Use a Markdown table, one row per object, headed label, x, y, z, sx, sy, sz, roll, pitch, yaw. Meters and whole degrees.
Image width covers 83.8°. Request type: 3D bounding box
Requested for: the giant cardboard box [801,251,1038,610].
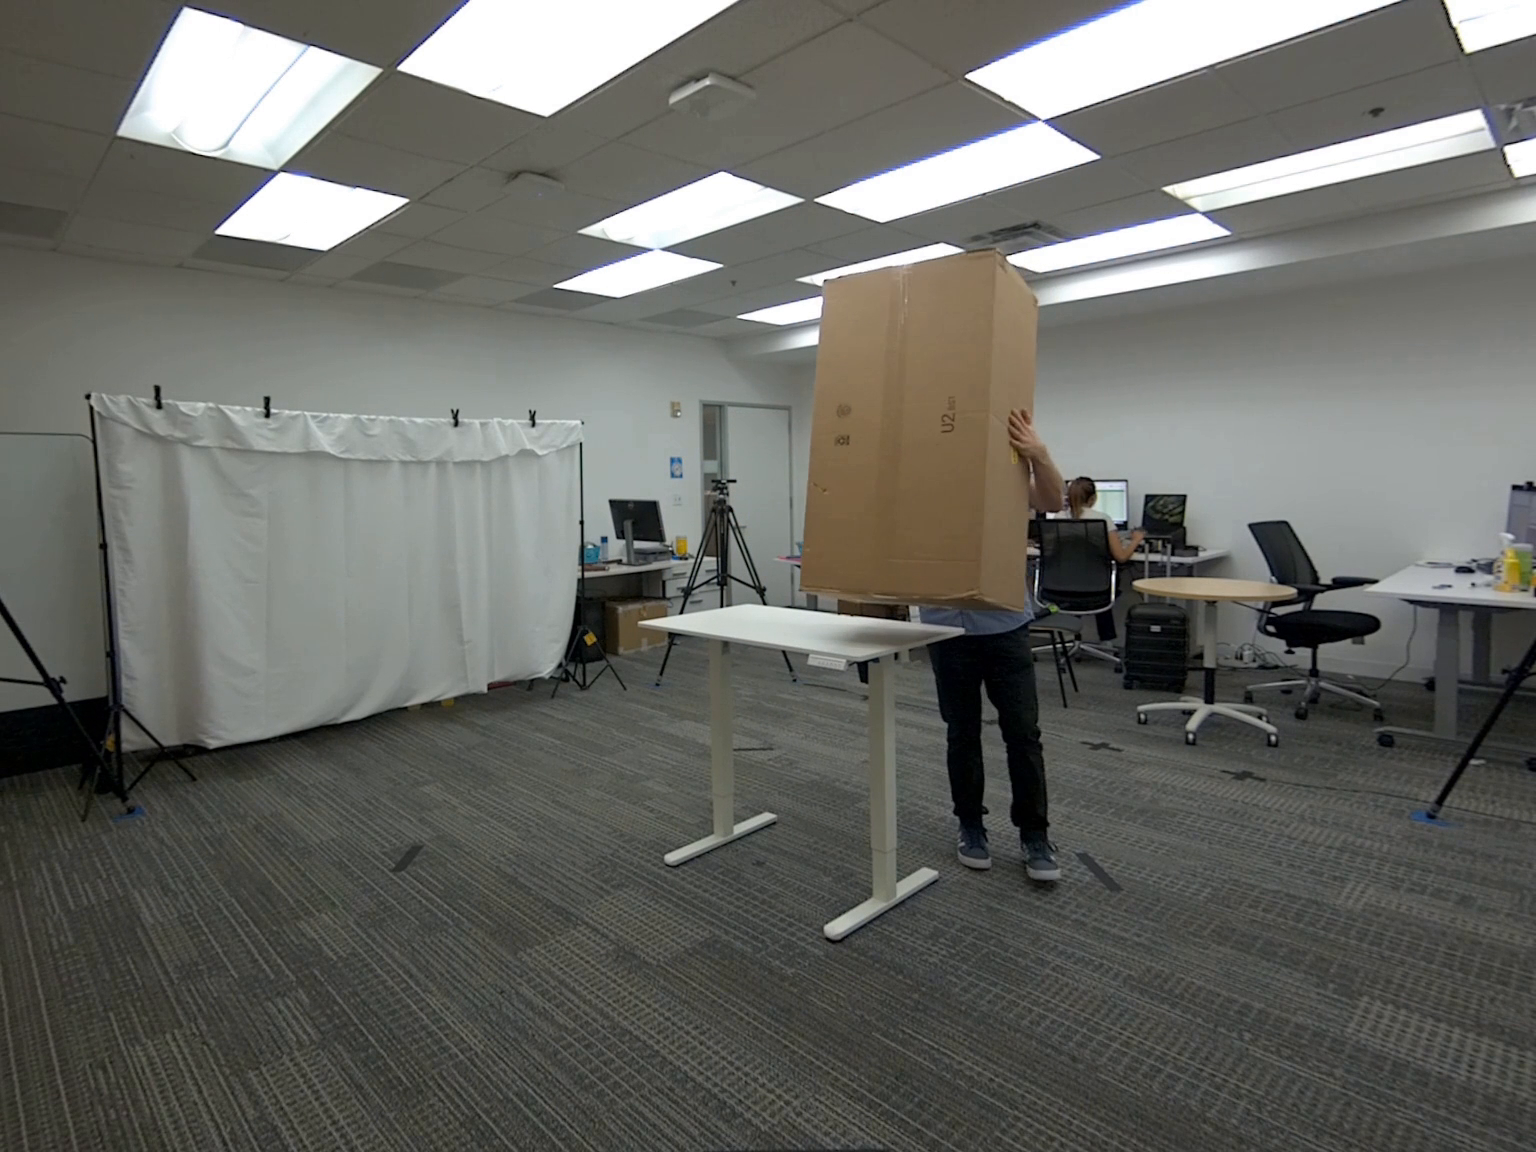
| label | x | y | z | sx | sy | sz | roll | pitch | yaw |
| --- | --- | --- | --- | --- | --- | --- | --- | --- | --- |
| giant cardboard box | 0.490 | -0.423 | 2.714 | 0.594 | 1.032 | 0.412 | 0 | -8 | 35 |
